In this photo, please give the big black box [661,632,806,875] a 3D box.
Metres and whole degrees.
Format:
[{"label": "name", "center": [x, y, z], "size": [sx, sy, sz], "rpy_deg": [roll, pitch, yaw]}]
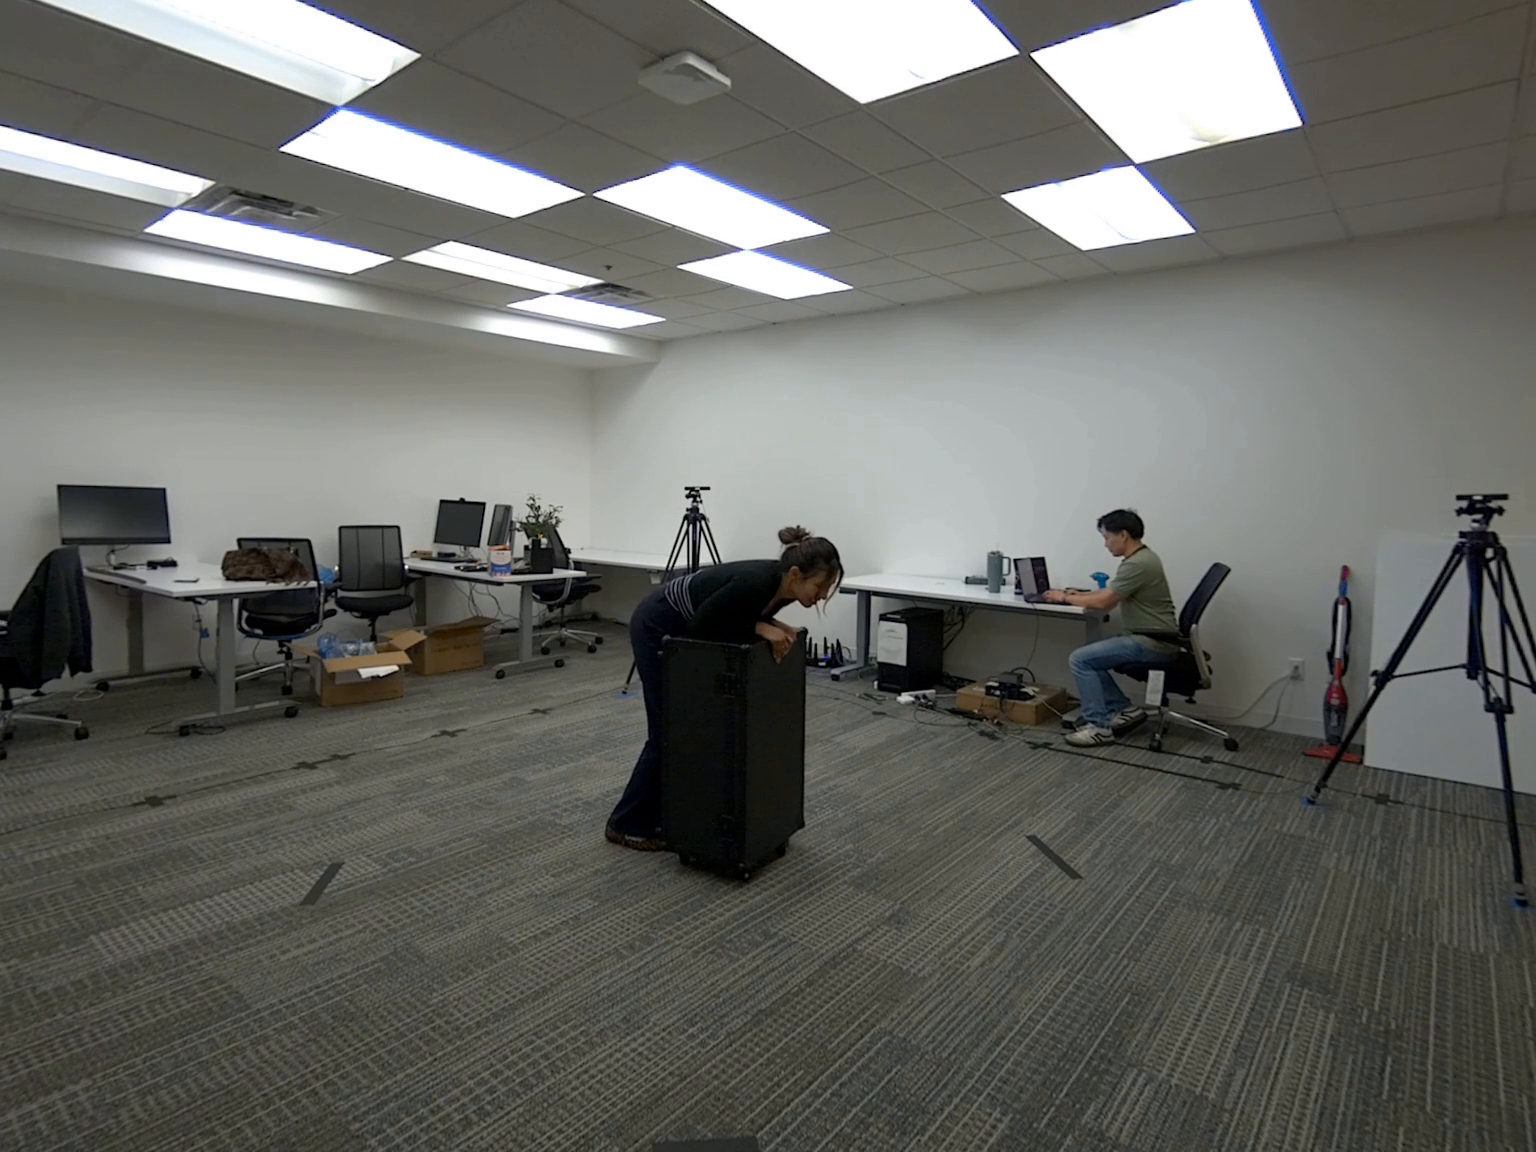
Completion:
[{"label": "big black box", "center": [-0.137, 0.633, 3.191], "size": [0.407, 0.859, 0.508], "rpy_deg": [2, 4, 29]}]
